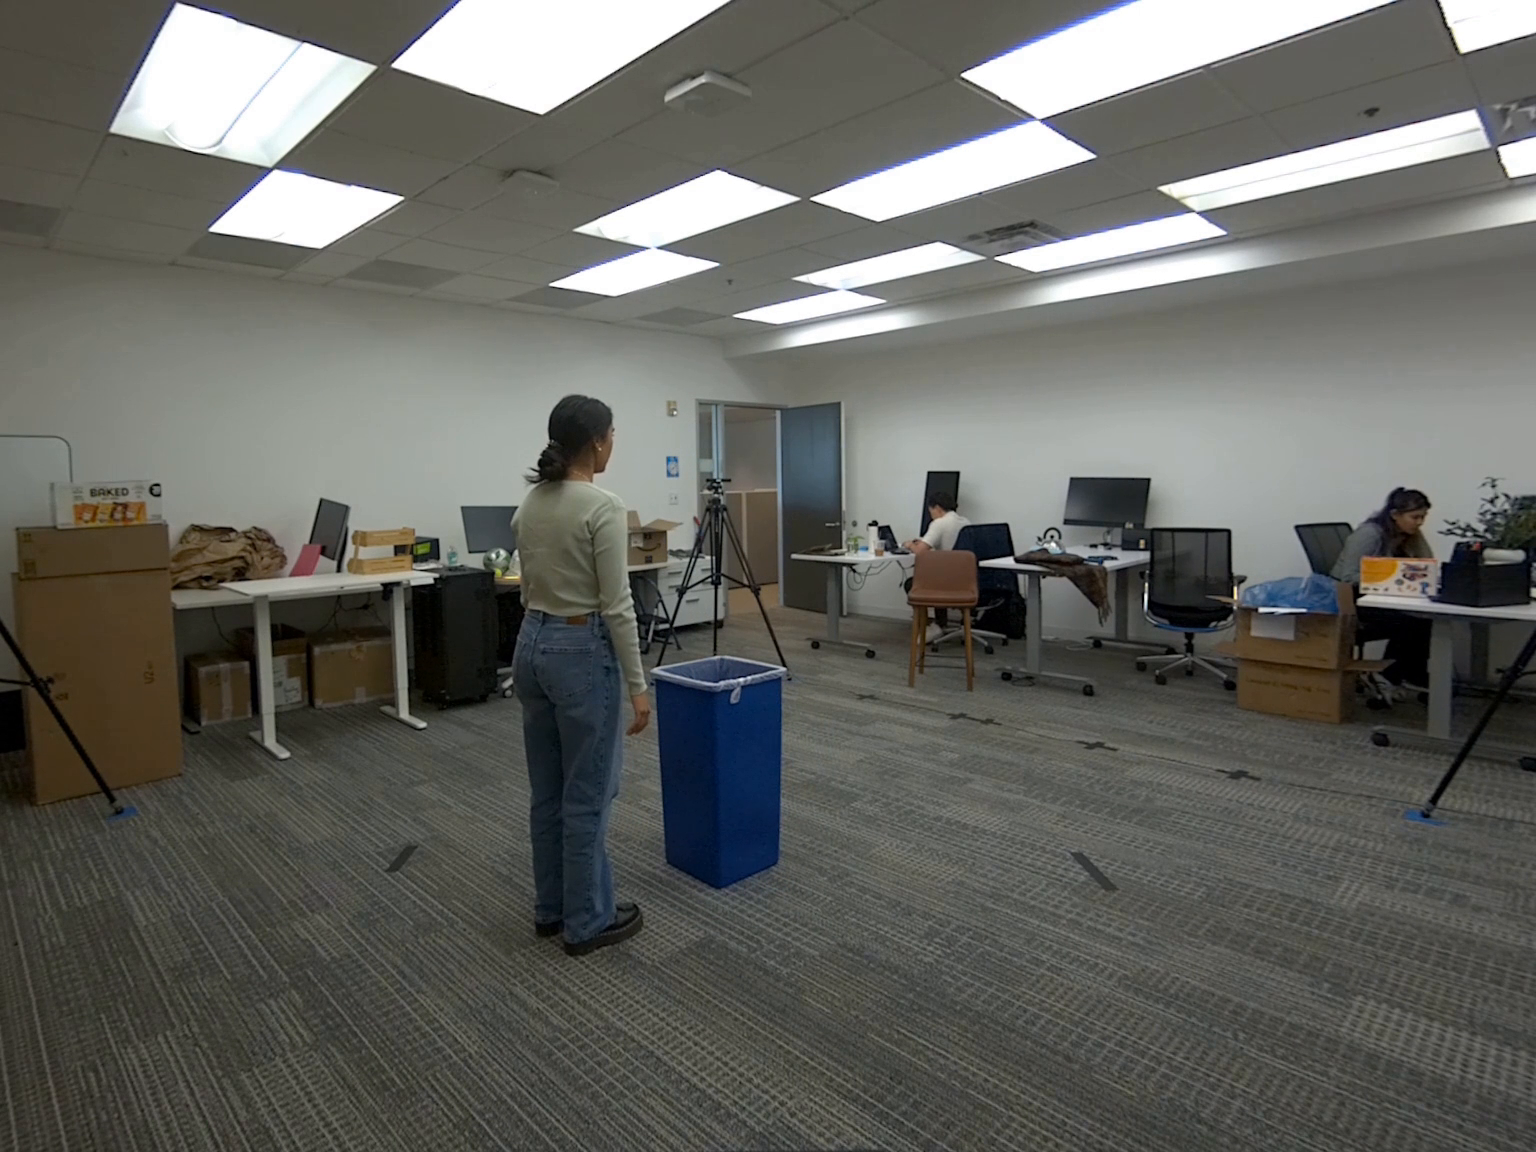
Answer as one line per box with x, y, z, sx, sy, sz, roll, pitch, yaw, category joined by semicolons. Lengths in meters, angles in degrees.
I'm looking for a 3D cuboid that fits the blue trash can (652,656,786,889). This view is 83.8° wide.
-0.177;0.689;3.095;0.368;0.711;0.385;-4;5;-43;blue trash can
